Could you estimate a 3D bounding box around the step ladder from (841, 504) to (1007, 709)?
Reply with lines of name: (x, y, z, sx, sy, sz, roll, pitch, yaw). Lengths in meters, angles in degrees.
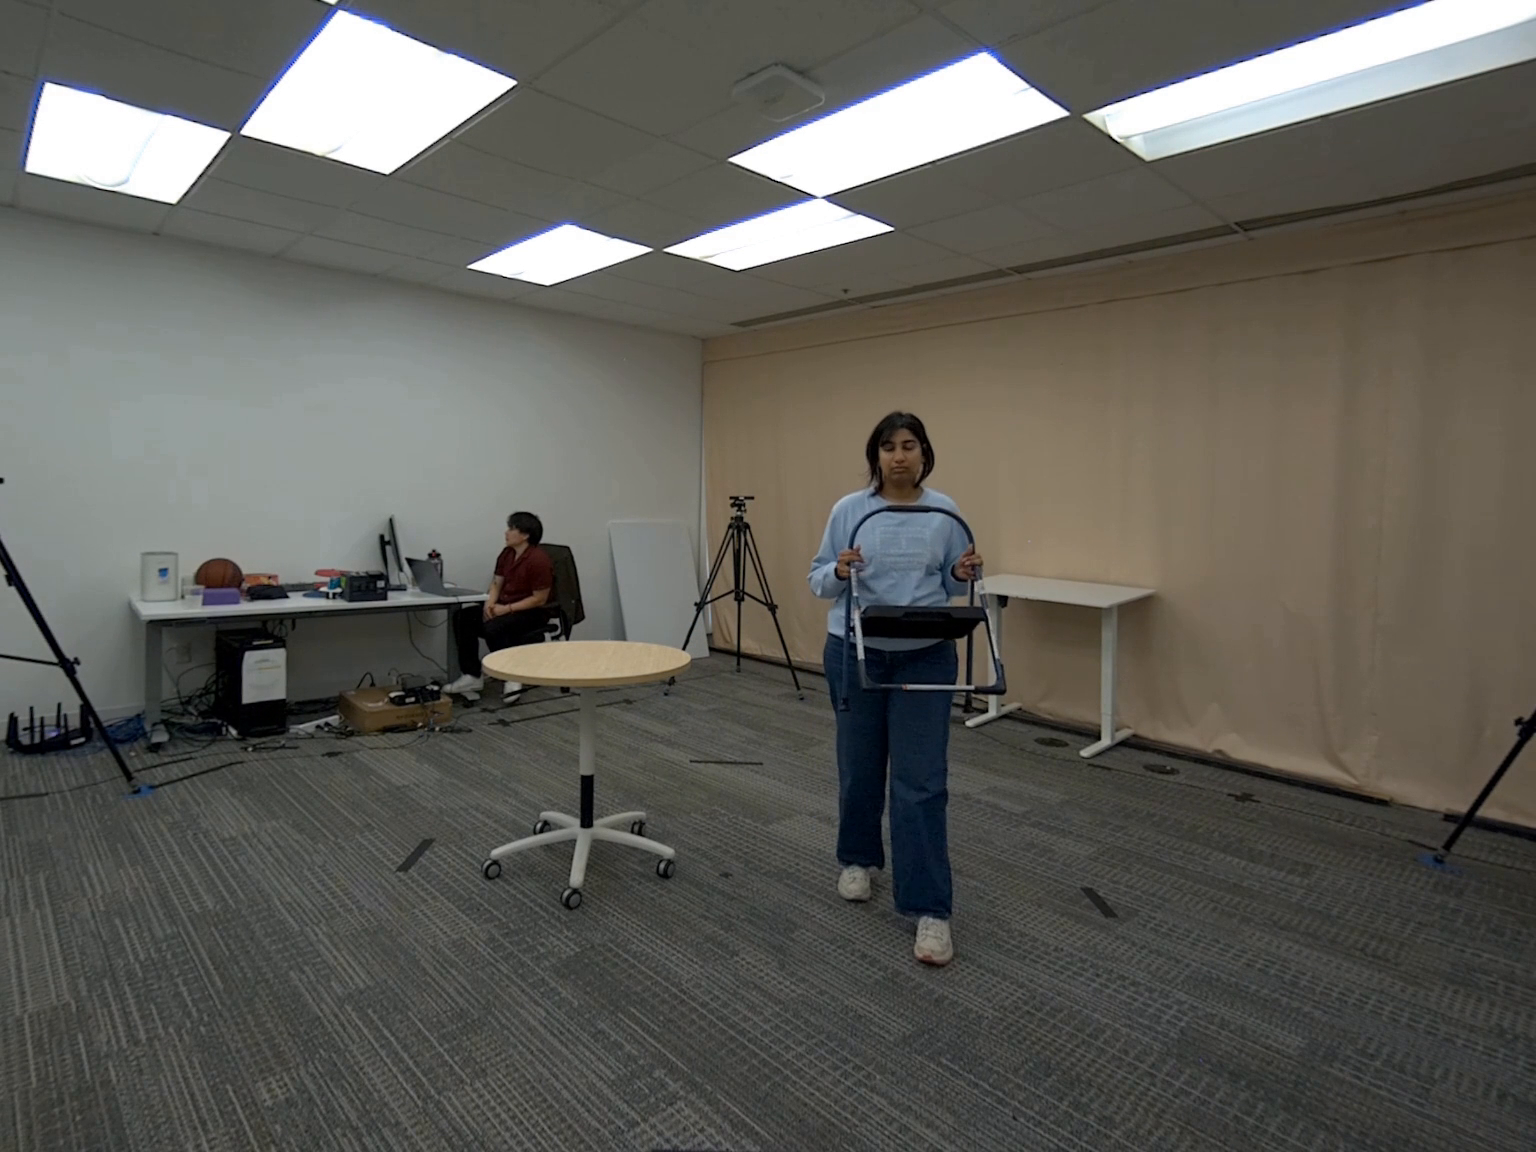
step ladder: (0.437, 0.094, 2.606, 0.429, 0.615, 0.346, 0, -19, -5)
